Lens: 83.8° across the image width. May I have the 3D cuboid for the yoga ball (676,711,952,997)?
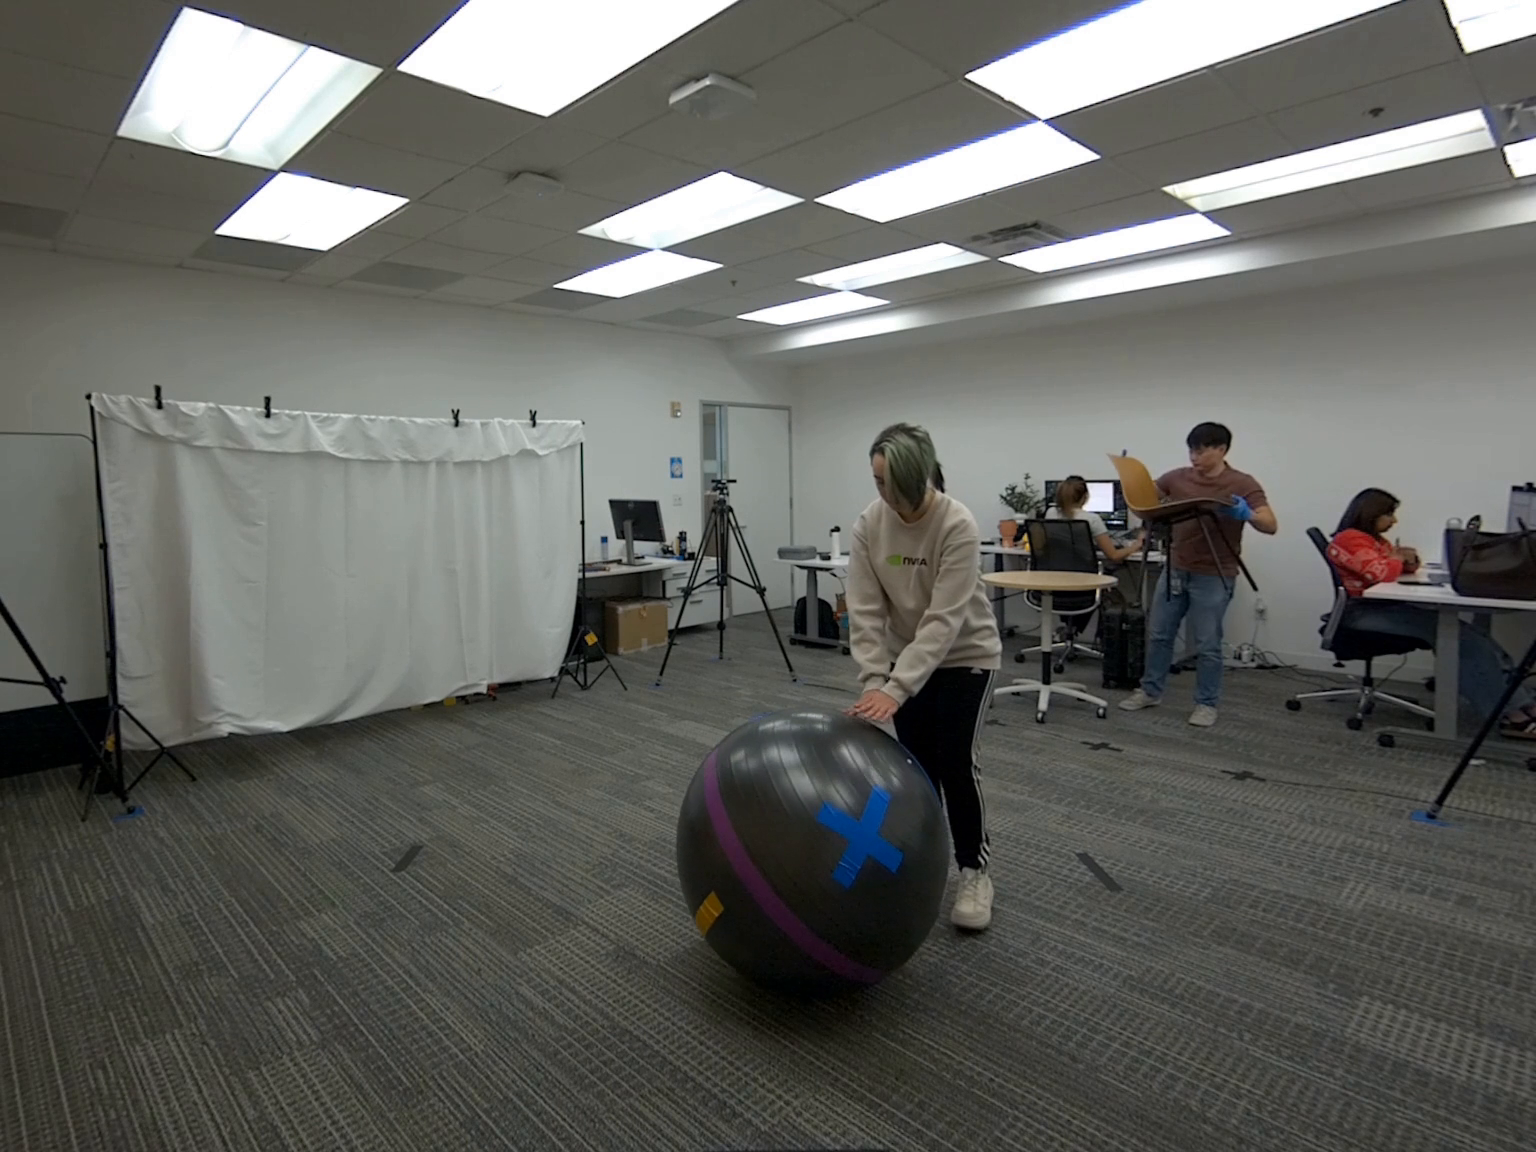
[{"bbox_3d":[0.122,0.752,2.390,0.757,0.755,0.762,-1,5,-2],"label":"yoga ball"}]
